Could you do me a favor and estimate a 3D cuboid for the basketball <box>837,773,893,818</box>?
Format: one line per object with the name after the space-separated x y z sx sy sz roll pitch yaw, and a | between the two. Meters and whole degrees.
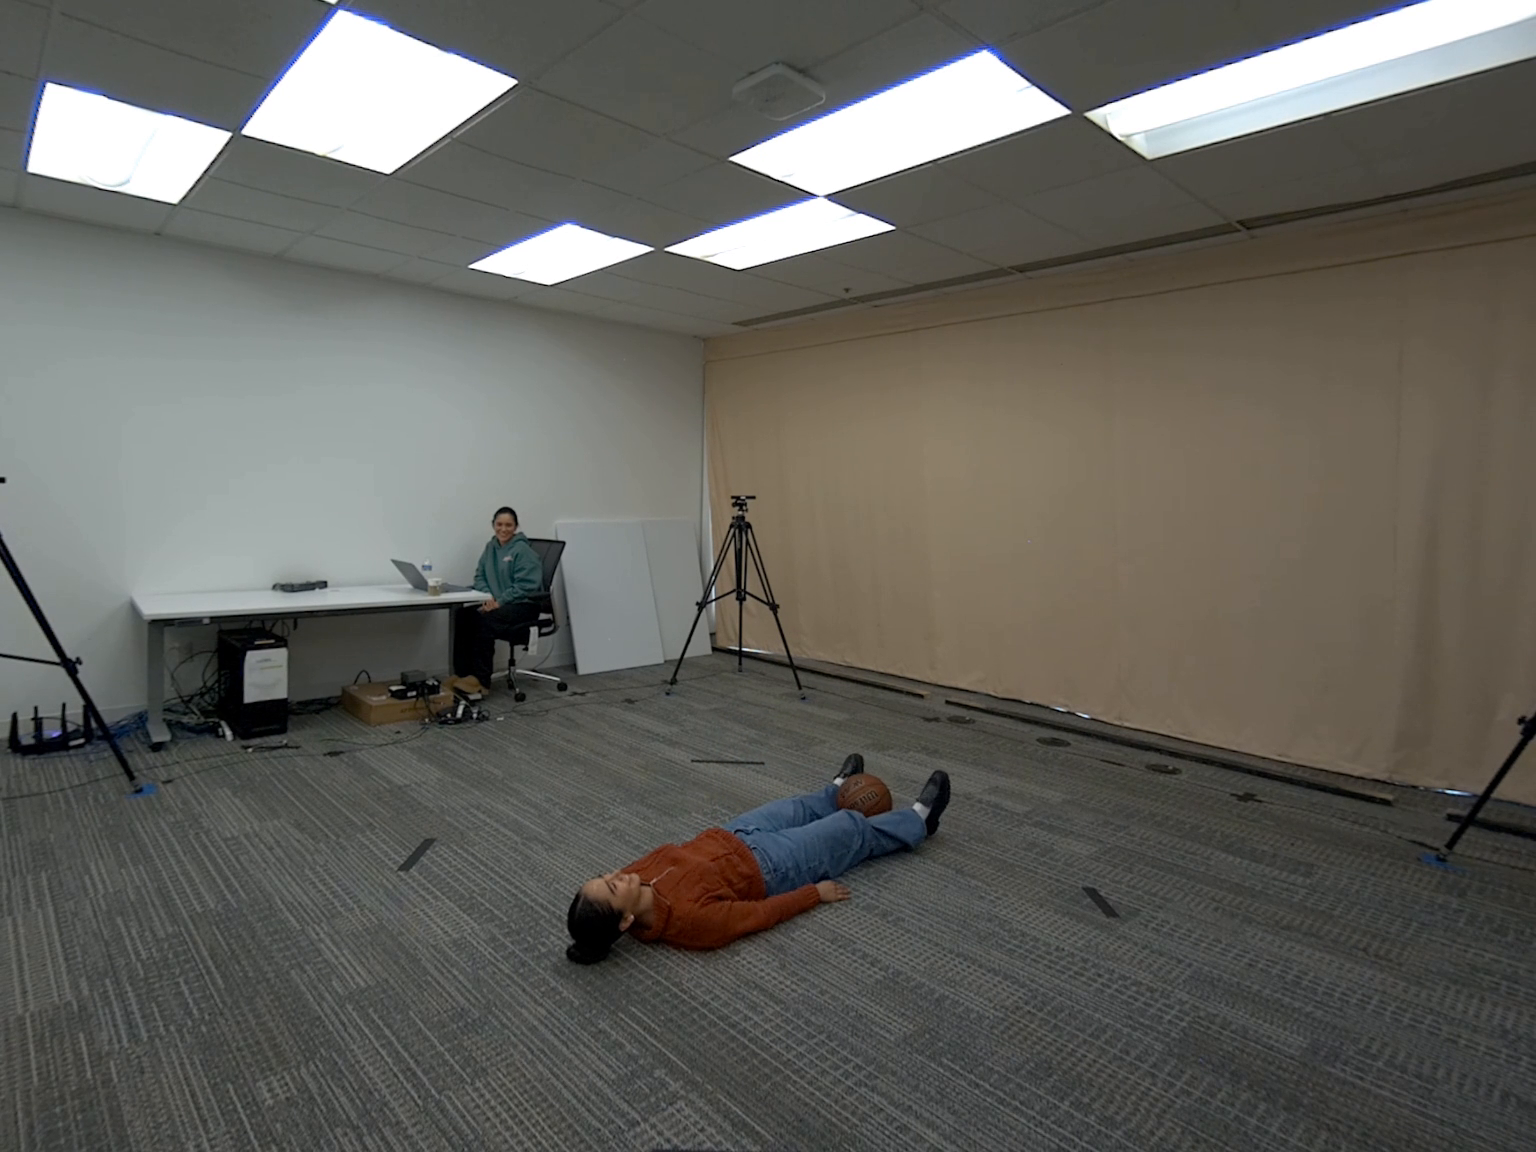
0.403 0.962 3.558 0.236 0.235 0.237 1 4 -1 | basketball
